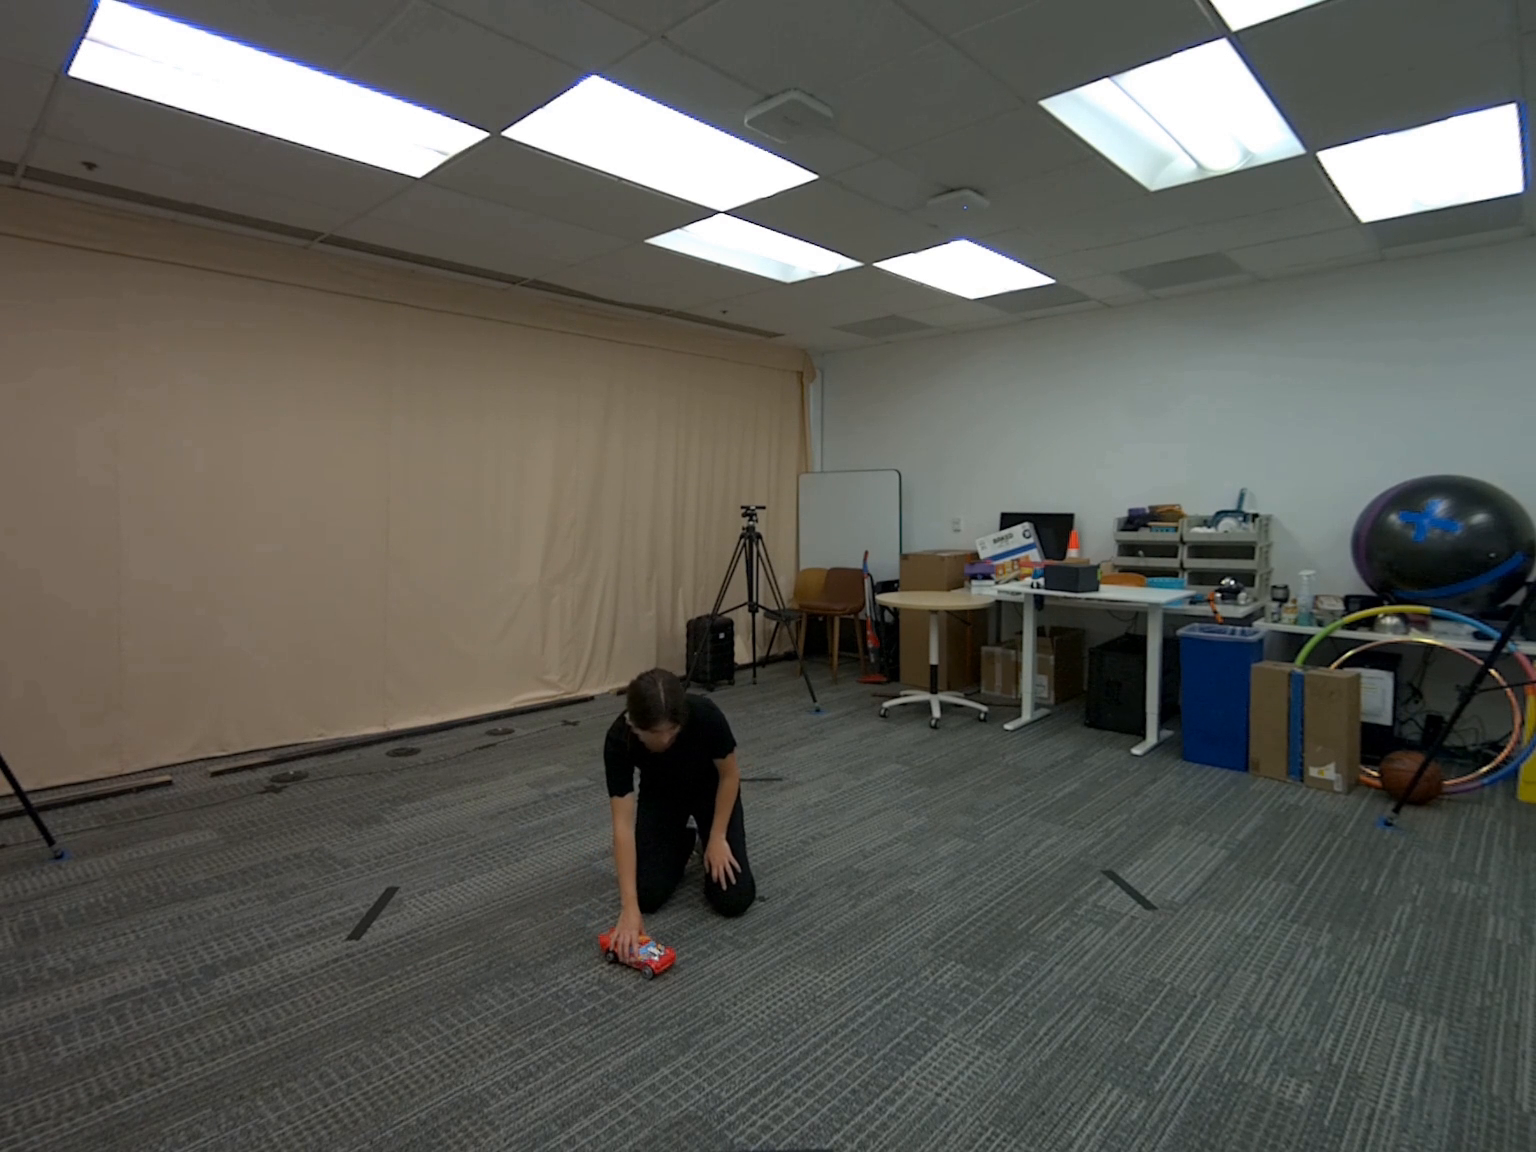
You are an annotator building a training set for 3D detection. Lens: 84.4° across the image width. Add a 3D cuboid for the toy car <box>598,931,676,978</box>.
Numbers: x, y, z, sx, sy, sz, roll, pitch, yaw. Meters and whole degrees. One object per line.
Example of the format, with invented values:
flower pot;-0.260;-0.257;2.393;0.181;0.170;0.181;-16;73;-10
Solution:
toy car;-0.407;1.144;2.580;0.263;0.083;0.127;16;14;34
